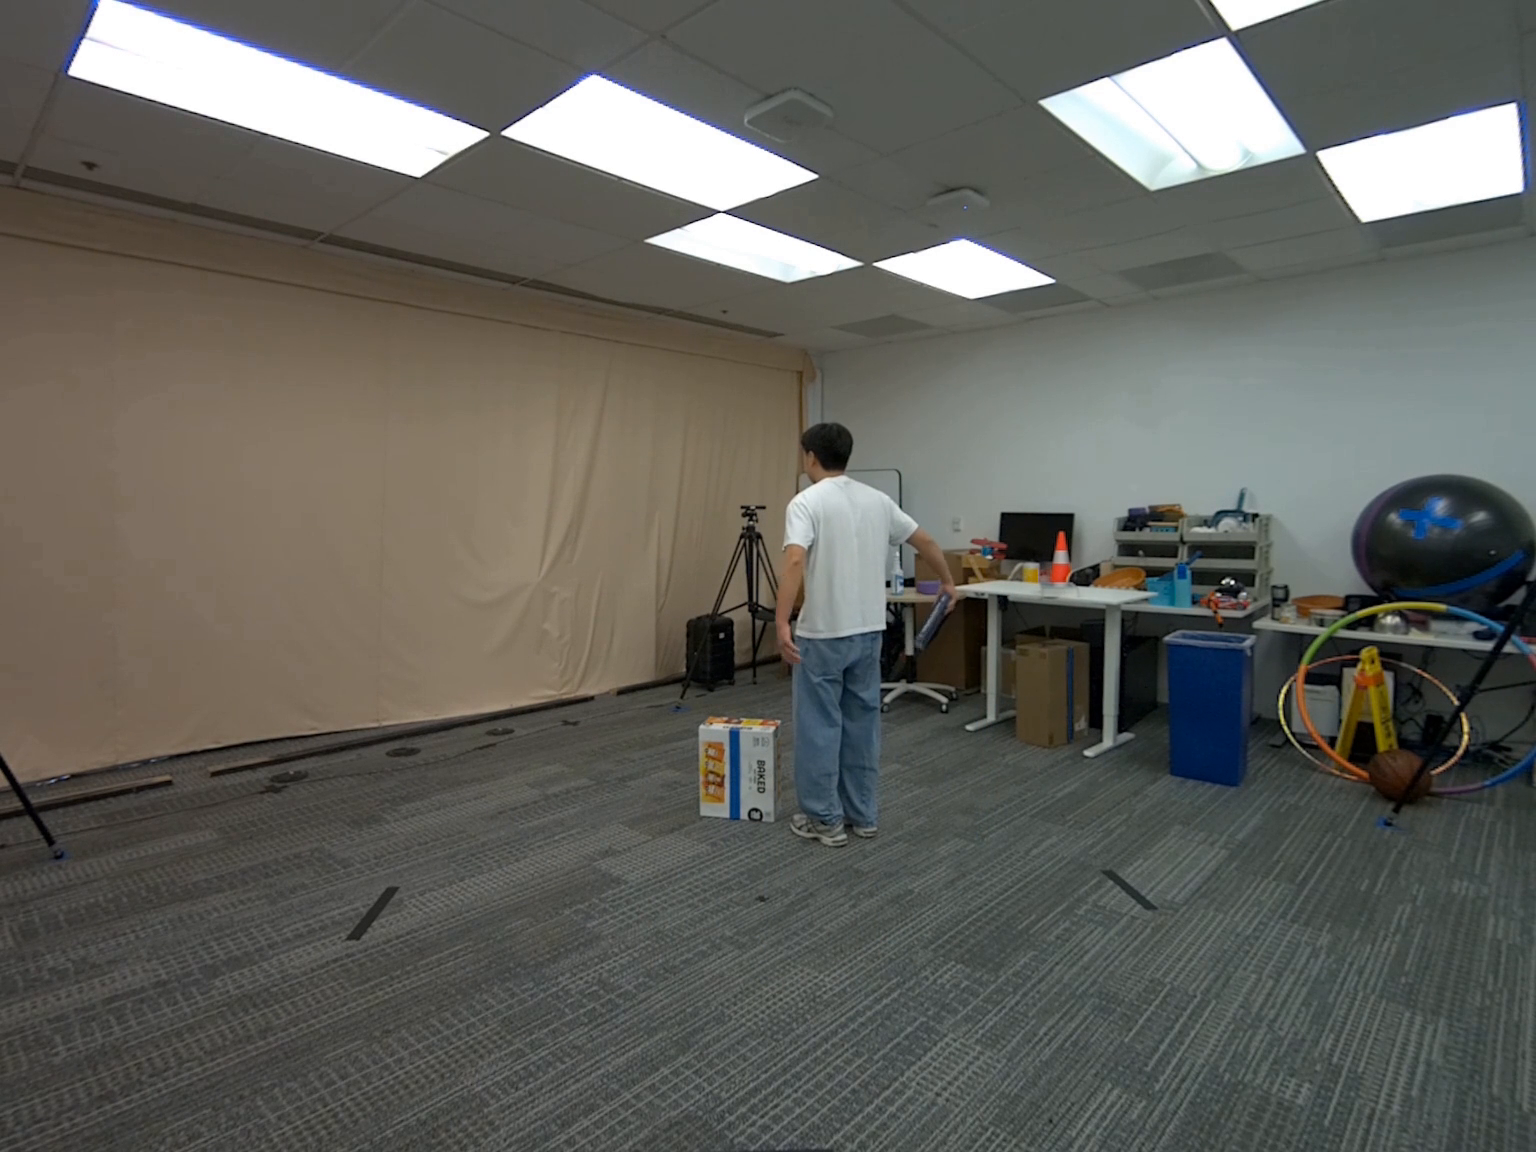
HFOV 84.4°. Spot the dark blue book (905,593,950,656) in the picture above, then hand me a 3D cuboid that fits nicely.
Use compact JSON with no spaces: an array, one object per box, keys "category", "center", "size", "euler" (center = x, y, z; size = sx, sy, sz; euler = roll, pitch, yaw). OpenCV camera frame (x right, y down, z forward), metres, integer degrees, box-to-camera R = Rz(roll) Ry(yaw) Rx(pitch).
[{"category":"dark blue book","center":[0.697,0.201,3.658],"size":[0.046,0.245,0.159],"euler":[30,-12,21]}]
